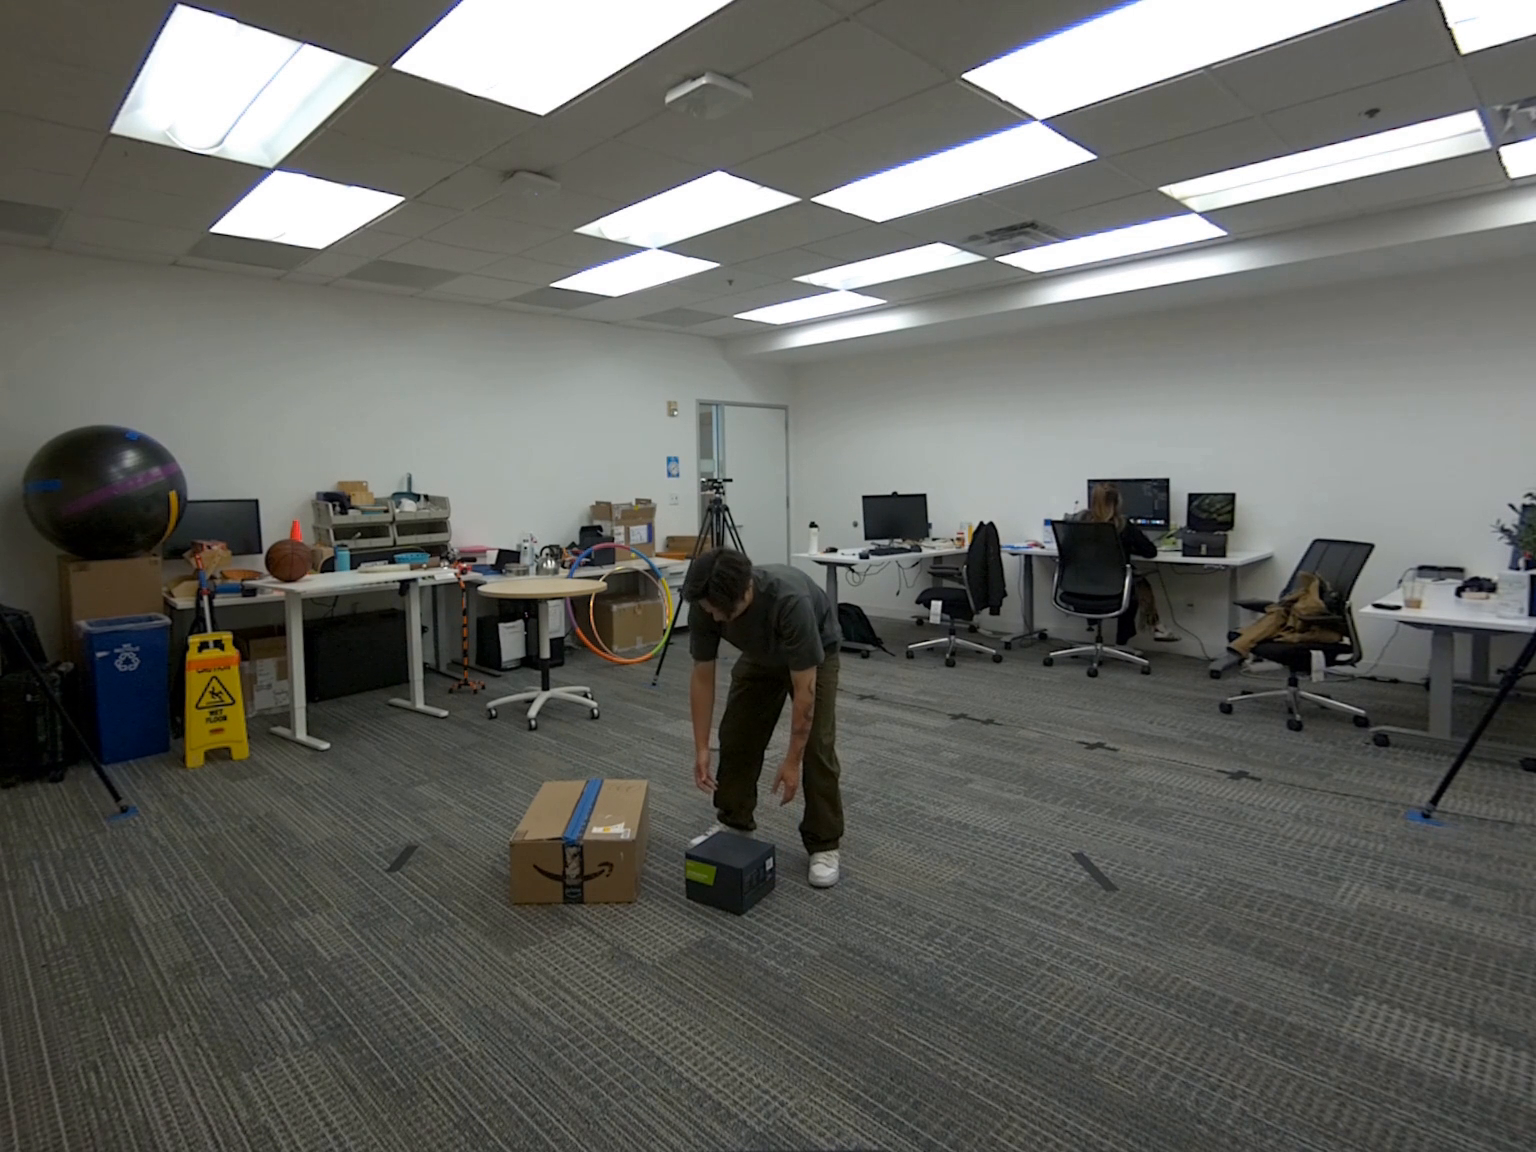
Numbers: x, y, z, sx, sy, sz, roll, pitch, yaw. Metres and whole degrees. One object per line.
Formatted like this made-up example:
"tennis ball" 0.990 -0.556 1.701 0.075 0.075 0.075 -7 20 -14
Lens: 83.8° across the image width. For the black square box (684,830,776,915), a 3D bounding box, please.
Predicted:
"black square box" -0.126 0.991 2.877 0.234 0.155 0.212 3 7 33
